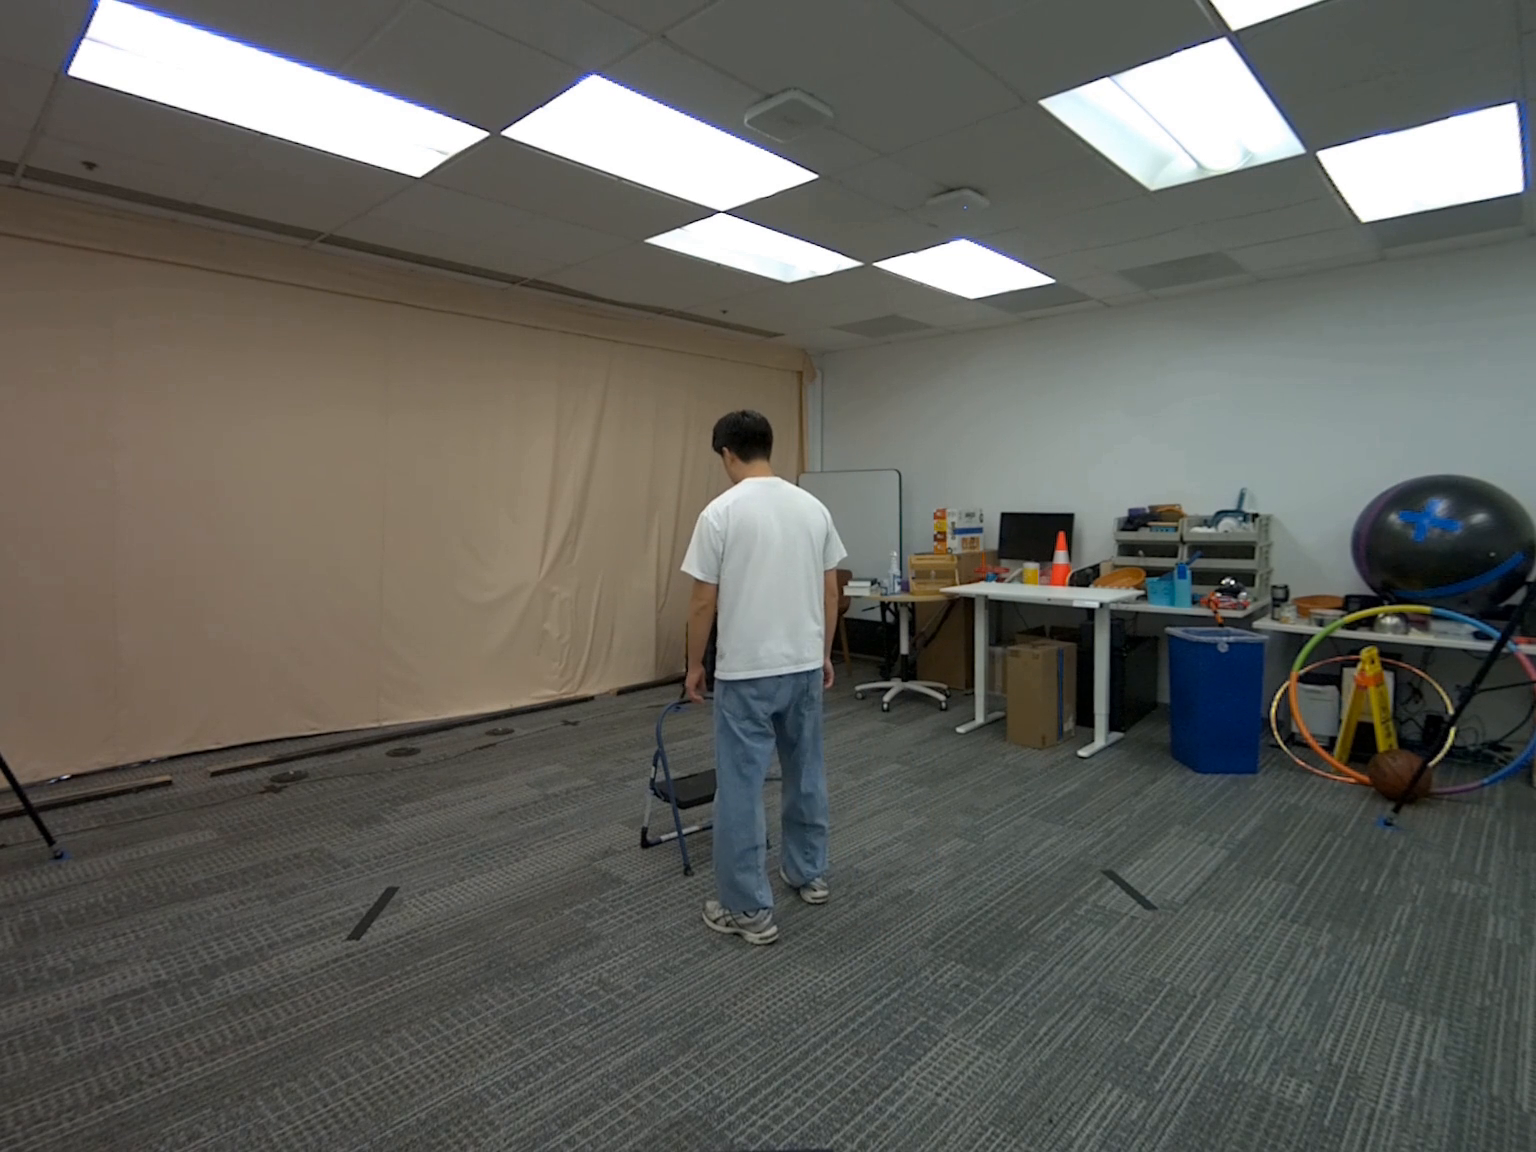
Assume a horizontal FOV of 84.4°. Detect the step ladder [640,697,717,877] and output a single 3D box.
[{"bbox_3d":[-0.259,0.806,3.418,0.417,0.605,0.361,-3,4,-40],"label":"step ladder"}]
